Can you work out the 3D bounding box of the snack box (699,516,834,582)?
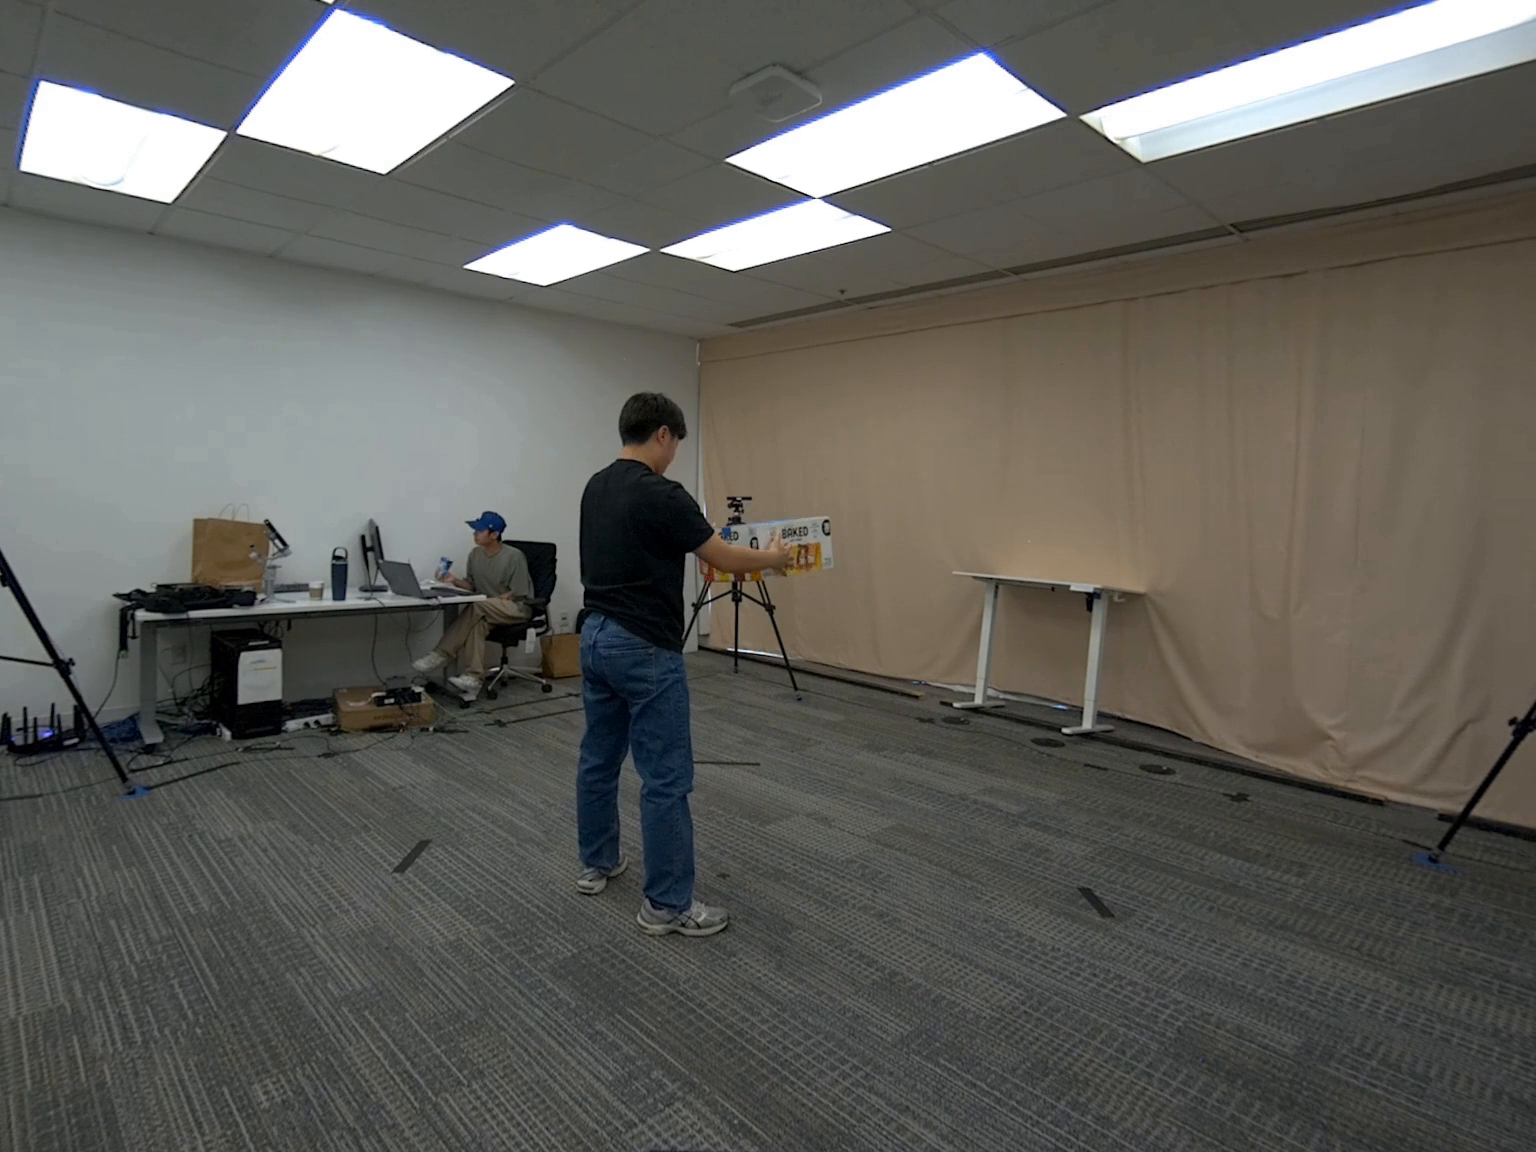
[{"bbox_3d":[-0.015,-0.089,3.257,0.397,0.205,0.348,-8,6,-44],"label":"snack box"}]
